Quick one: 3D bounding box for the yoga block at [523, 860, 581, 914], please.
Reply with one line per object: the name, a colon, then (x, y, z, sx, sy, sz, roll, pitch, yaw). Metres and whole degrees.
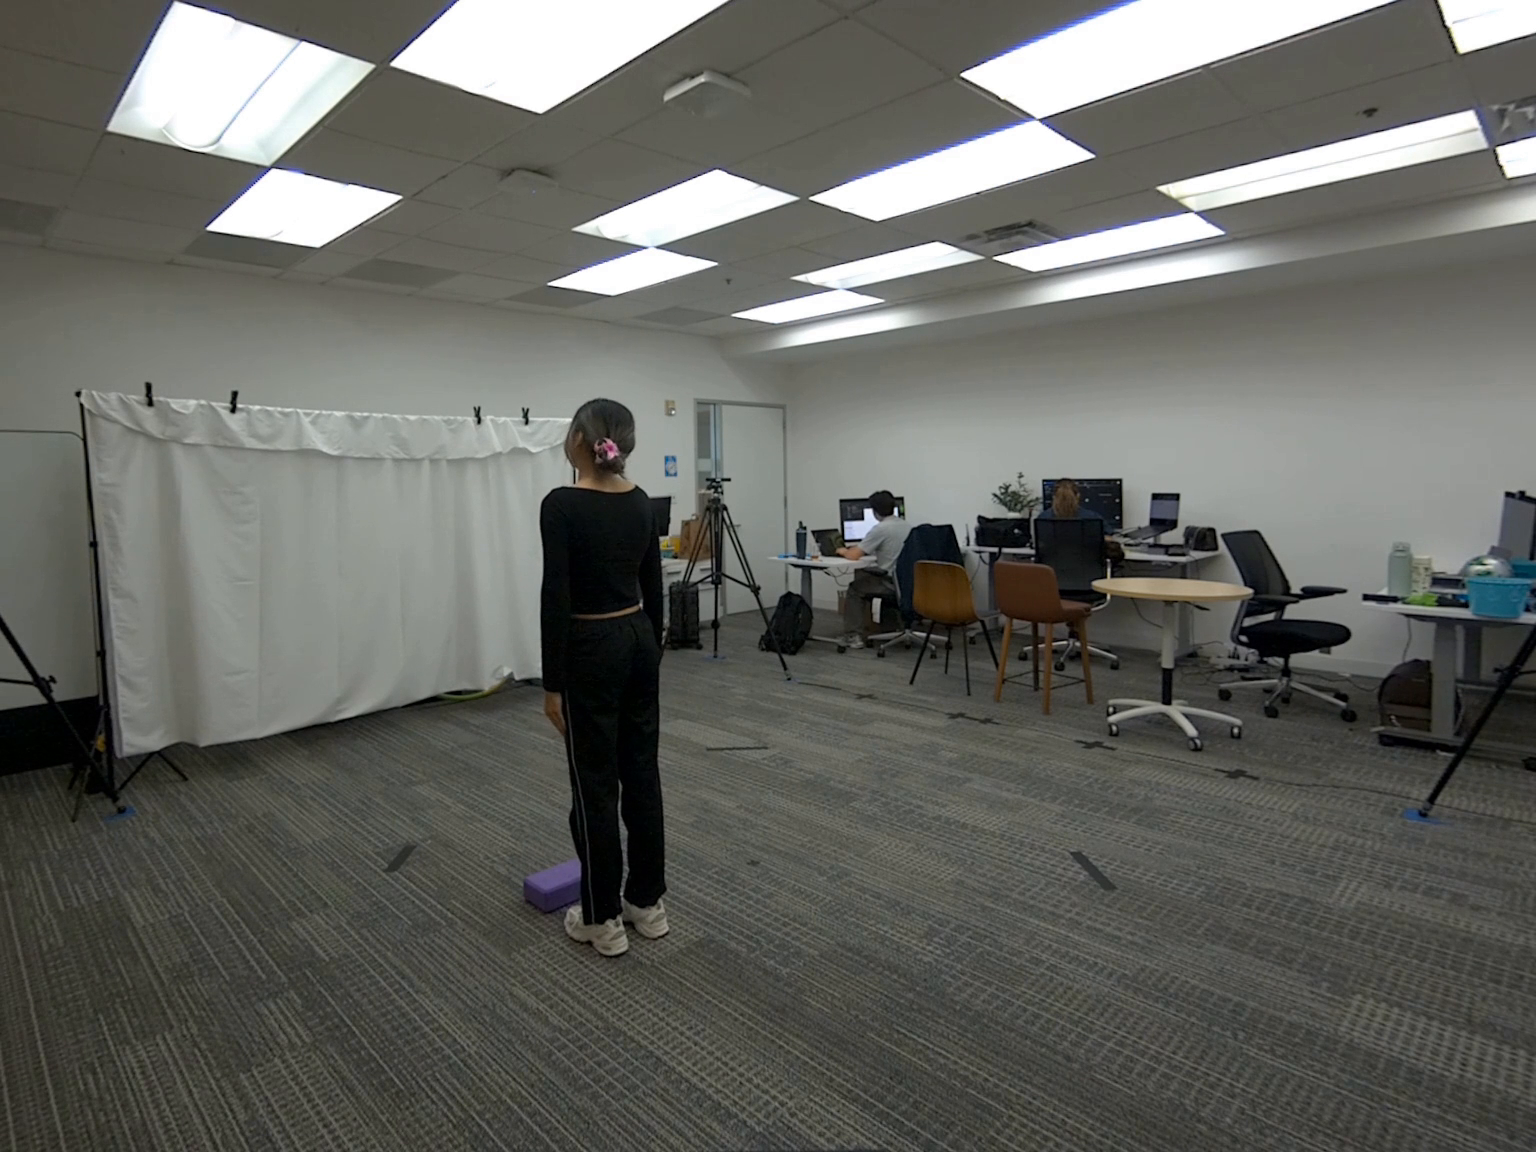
yoga block: (-0.687, 1.039, 2.884, 0.223, 0.076, 0.153, -7, 7, -44)
